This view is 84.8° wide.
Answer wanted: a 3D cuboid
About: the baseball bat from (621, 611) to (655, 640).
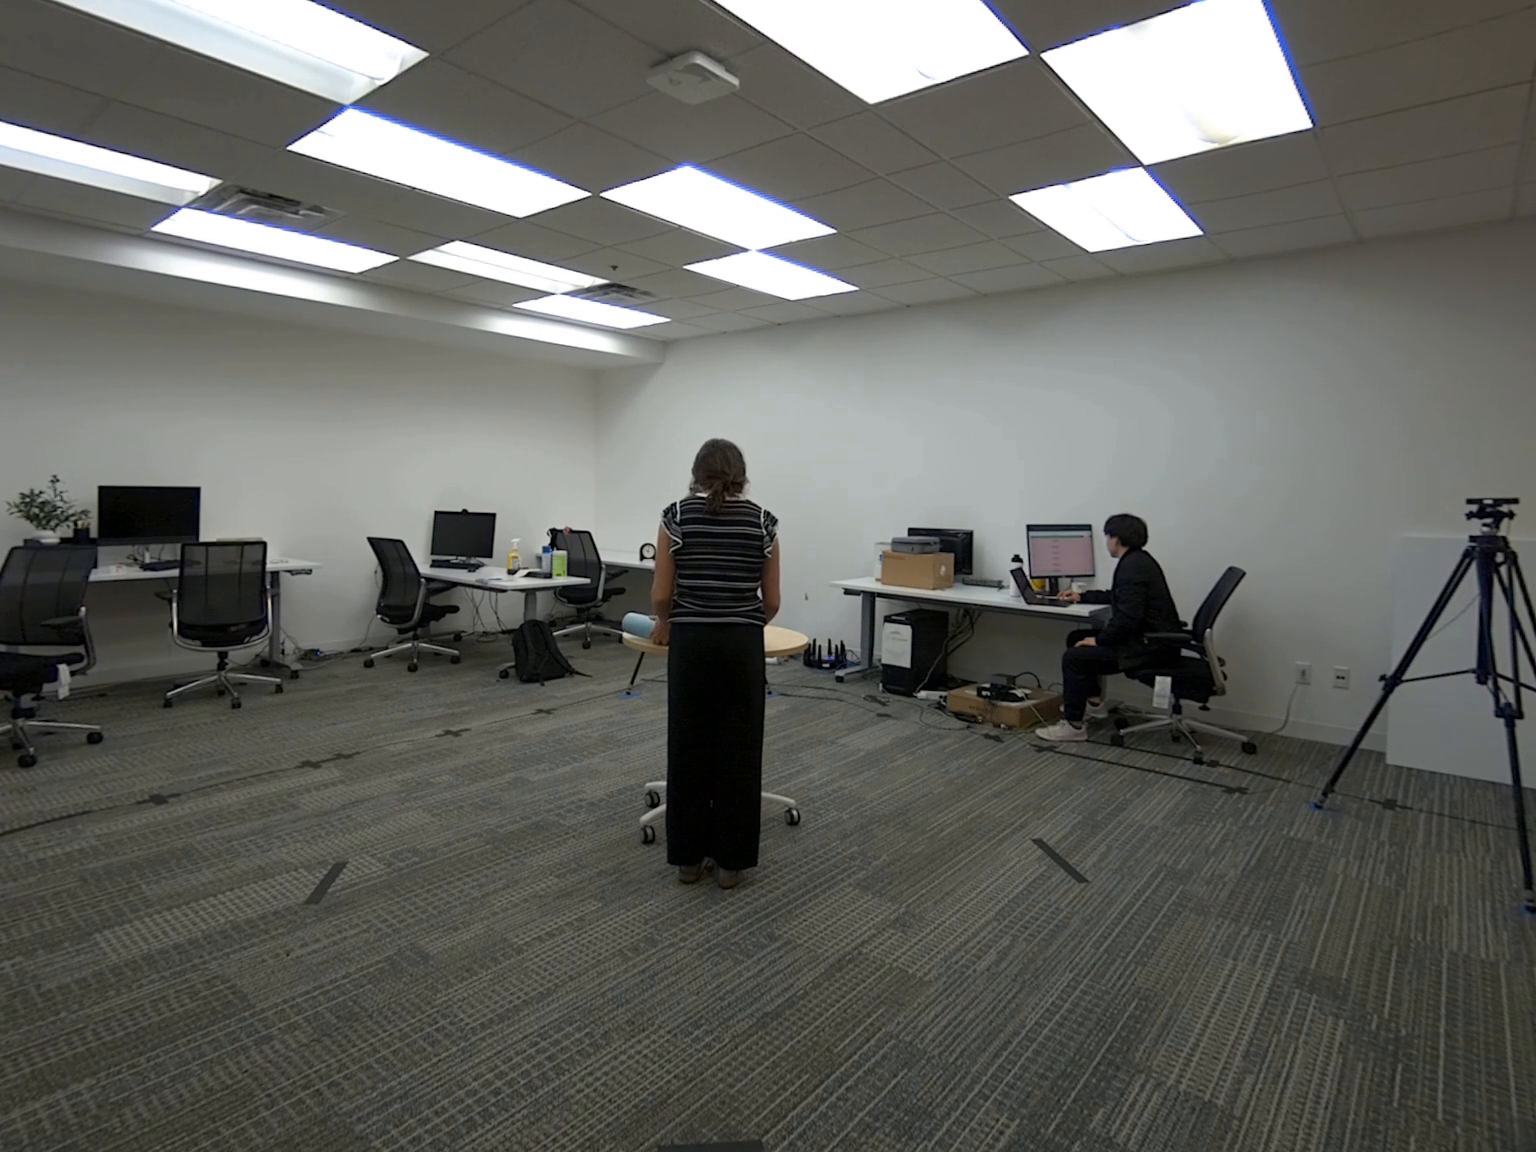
[{"bbox_3d":[-0.339,0.232,3.253,0.562,0.088,0.086,12,9,34],"label":"baseball bat"}]
